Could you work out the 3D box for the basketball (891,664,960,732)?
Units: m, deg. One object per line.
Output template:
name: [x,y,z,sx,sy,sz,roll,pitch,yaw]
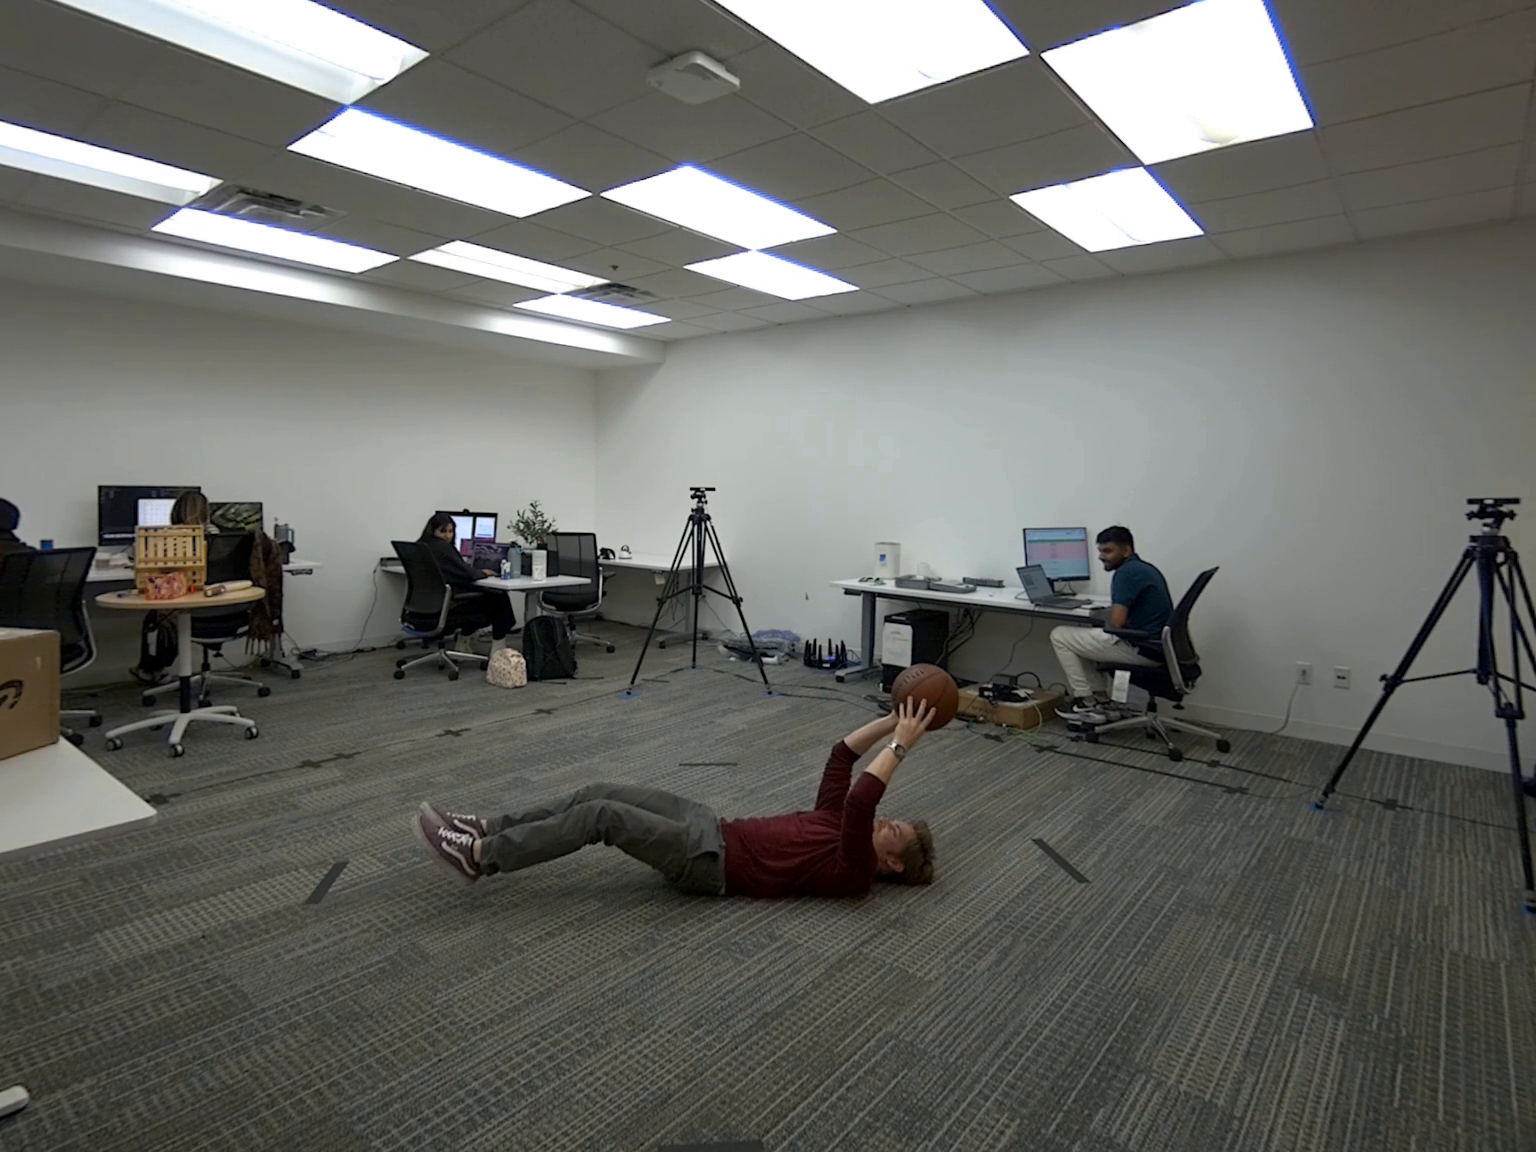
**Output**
basketball: [0.560,0.431,3.071,0.235,0.235,0.237,1,4,-2]
